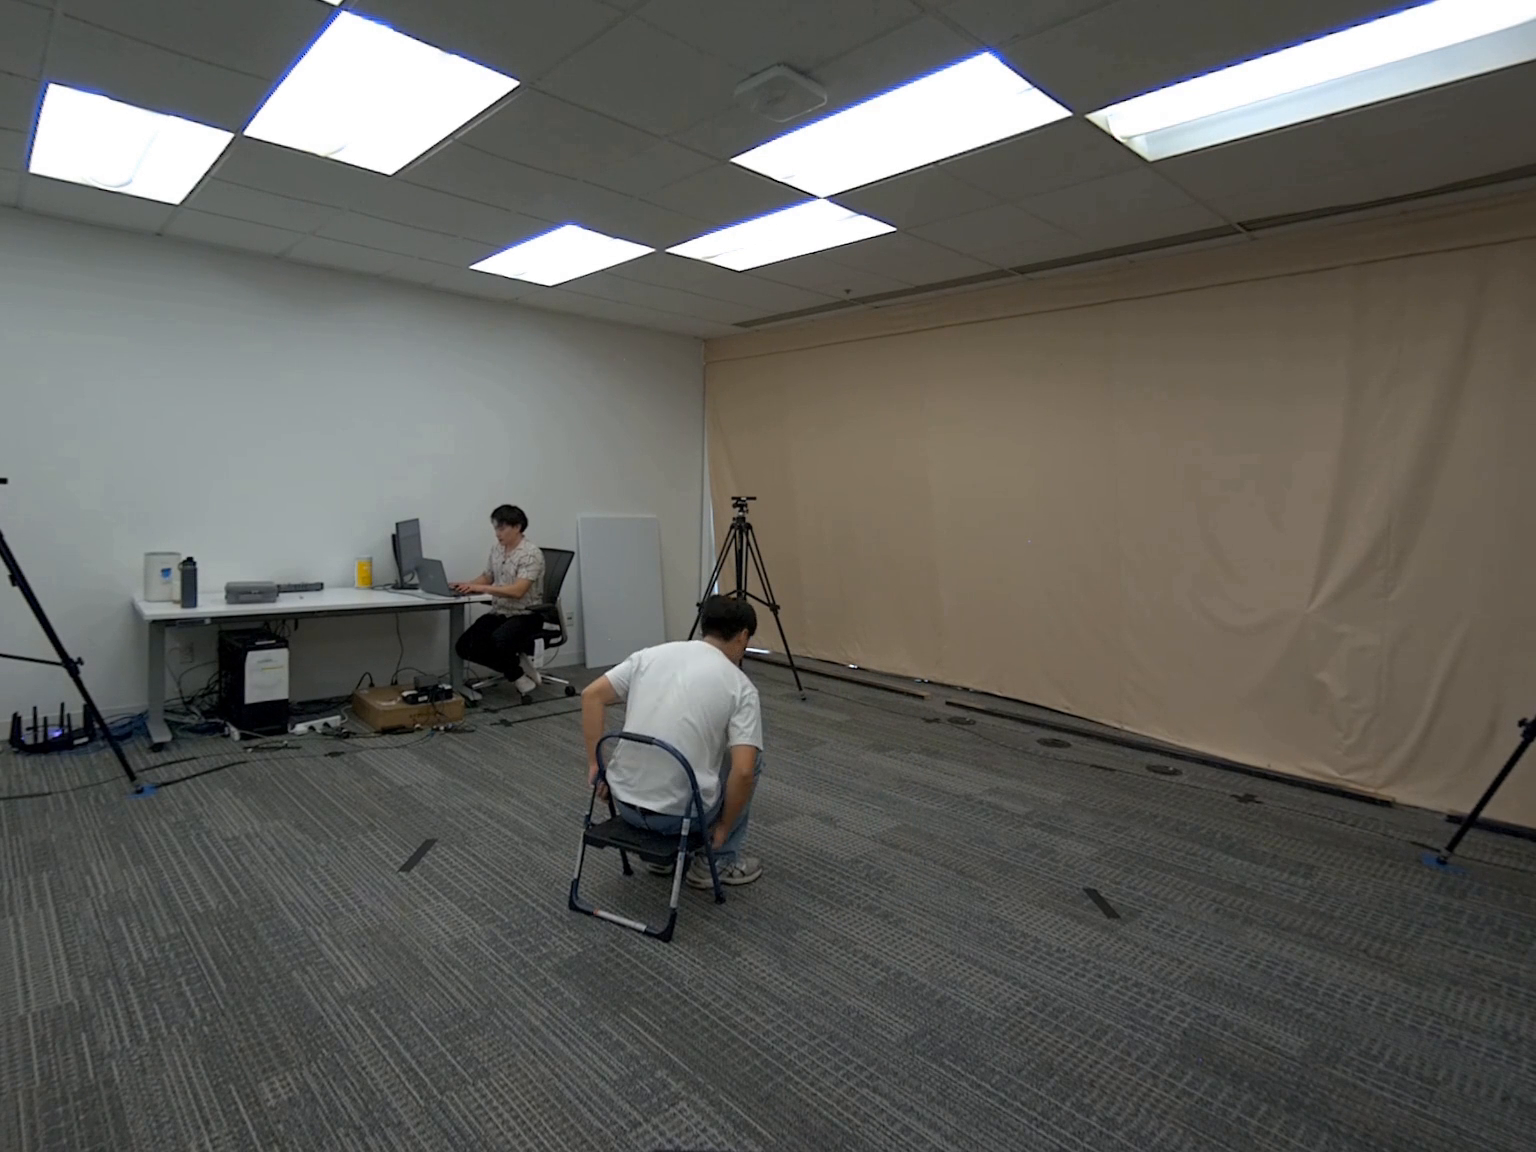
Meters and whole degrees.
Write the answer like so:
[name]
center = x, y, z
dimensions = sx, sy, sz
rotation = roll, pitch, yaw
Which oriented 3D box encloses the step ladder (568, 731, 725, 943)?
[step ladder]
center = -0.418, 0.825, 2.848
dimensions = 0.440, 0.604, 0.343
rotation = 3, 4, 29
